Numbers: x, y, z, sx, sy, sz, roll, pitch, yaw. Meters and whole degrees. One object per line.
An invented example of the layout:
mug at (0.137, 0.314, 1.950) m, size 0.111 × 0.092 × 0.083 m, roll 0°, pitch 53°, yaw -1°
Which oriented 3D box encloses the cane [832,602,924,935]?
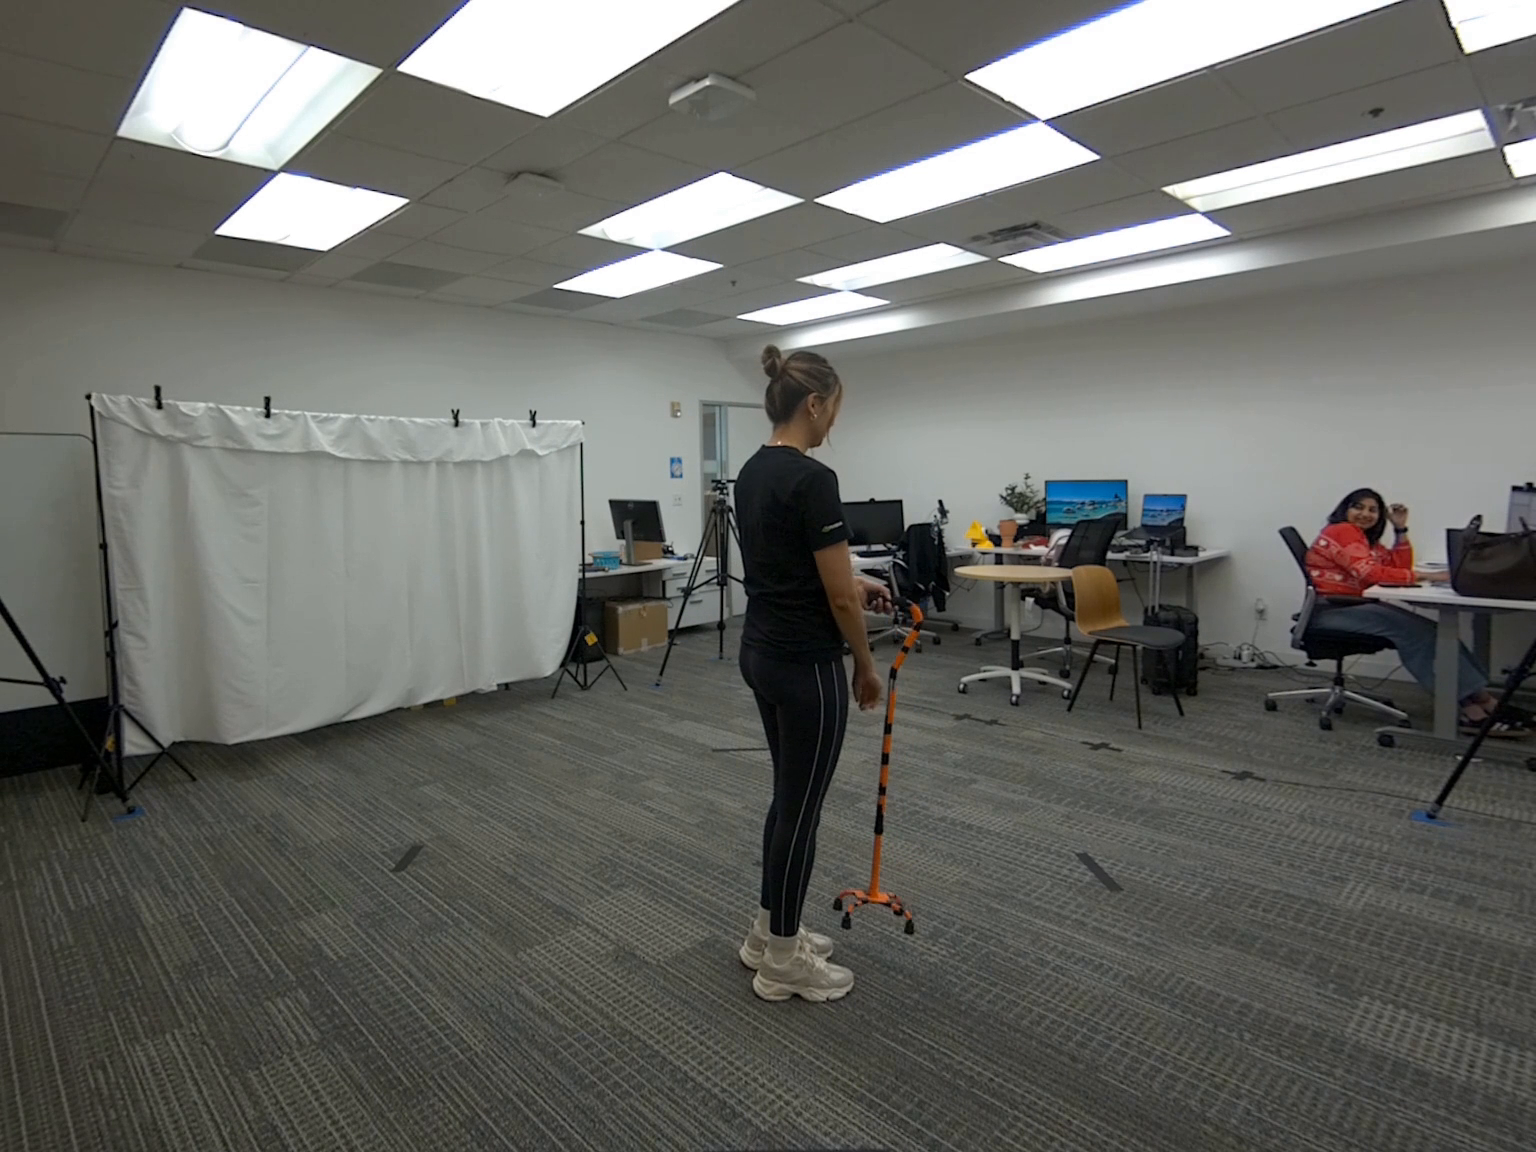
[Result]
cane at (0.336, 0.513, 2.417) m, size 0.206 × 0.909 × 0.151 m, roll 4°, pitch -2°, yaw -2°
